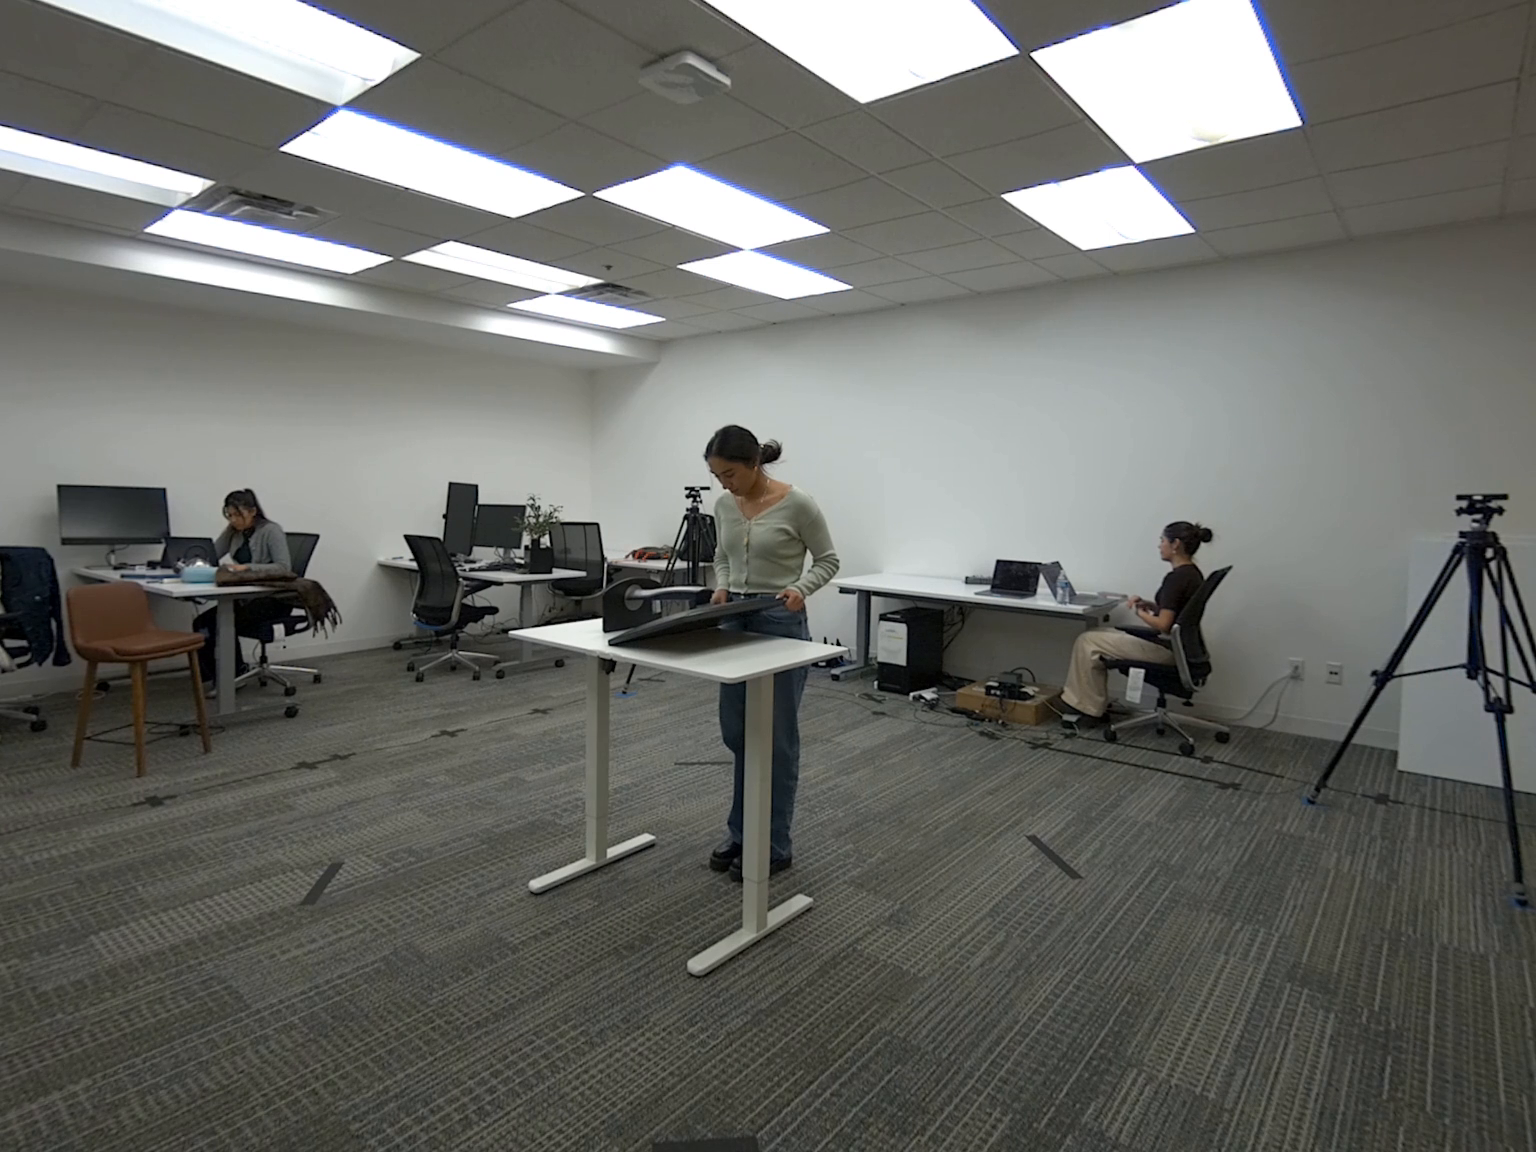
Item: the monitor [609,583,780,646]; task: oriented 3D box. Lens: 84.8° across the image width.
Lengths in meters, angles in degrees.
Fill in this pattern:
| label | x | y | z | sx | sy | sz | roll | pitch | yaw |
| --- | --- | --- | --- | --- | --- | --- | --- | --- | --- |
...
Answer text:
| label | x | y | z | sx | sy | sz | roll | pitch | yaw |
| --- | --- | --- | --- | --- | --- | --- | --- | --- | --- |
| monitor | -0.305 | 0.112 | 2.861 | 0.540 | 0.186 | 0.525 | 4 | 10 | 41 |
